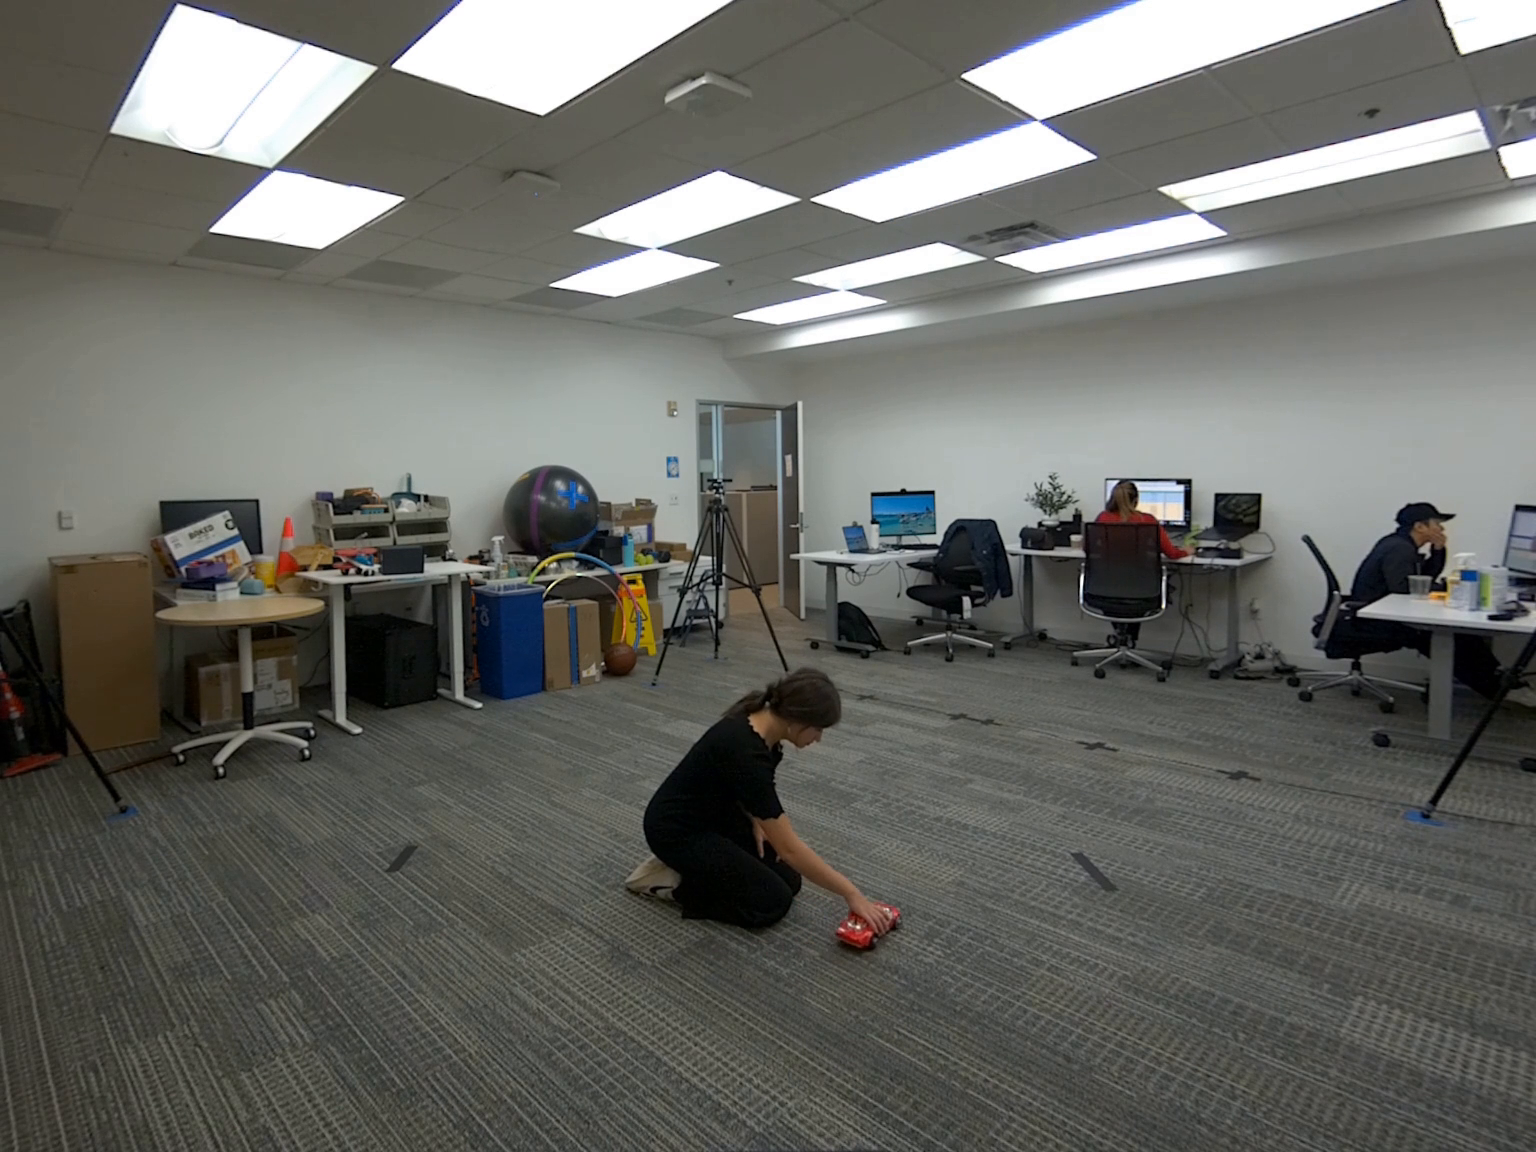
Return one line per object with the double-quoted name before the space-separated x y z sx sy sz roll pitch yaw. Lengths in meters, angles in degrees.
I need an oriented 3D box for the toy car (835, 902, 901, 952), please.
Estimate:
"toy car" 0.301 1.064 2.596 0.134 0.083 0.246 6 -2 39
